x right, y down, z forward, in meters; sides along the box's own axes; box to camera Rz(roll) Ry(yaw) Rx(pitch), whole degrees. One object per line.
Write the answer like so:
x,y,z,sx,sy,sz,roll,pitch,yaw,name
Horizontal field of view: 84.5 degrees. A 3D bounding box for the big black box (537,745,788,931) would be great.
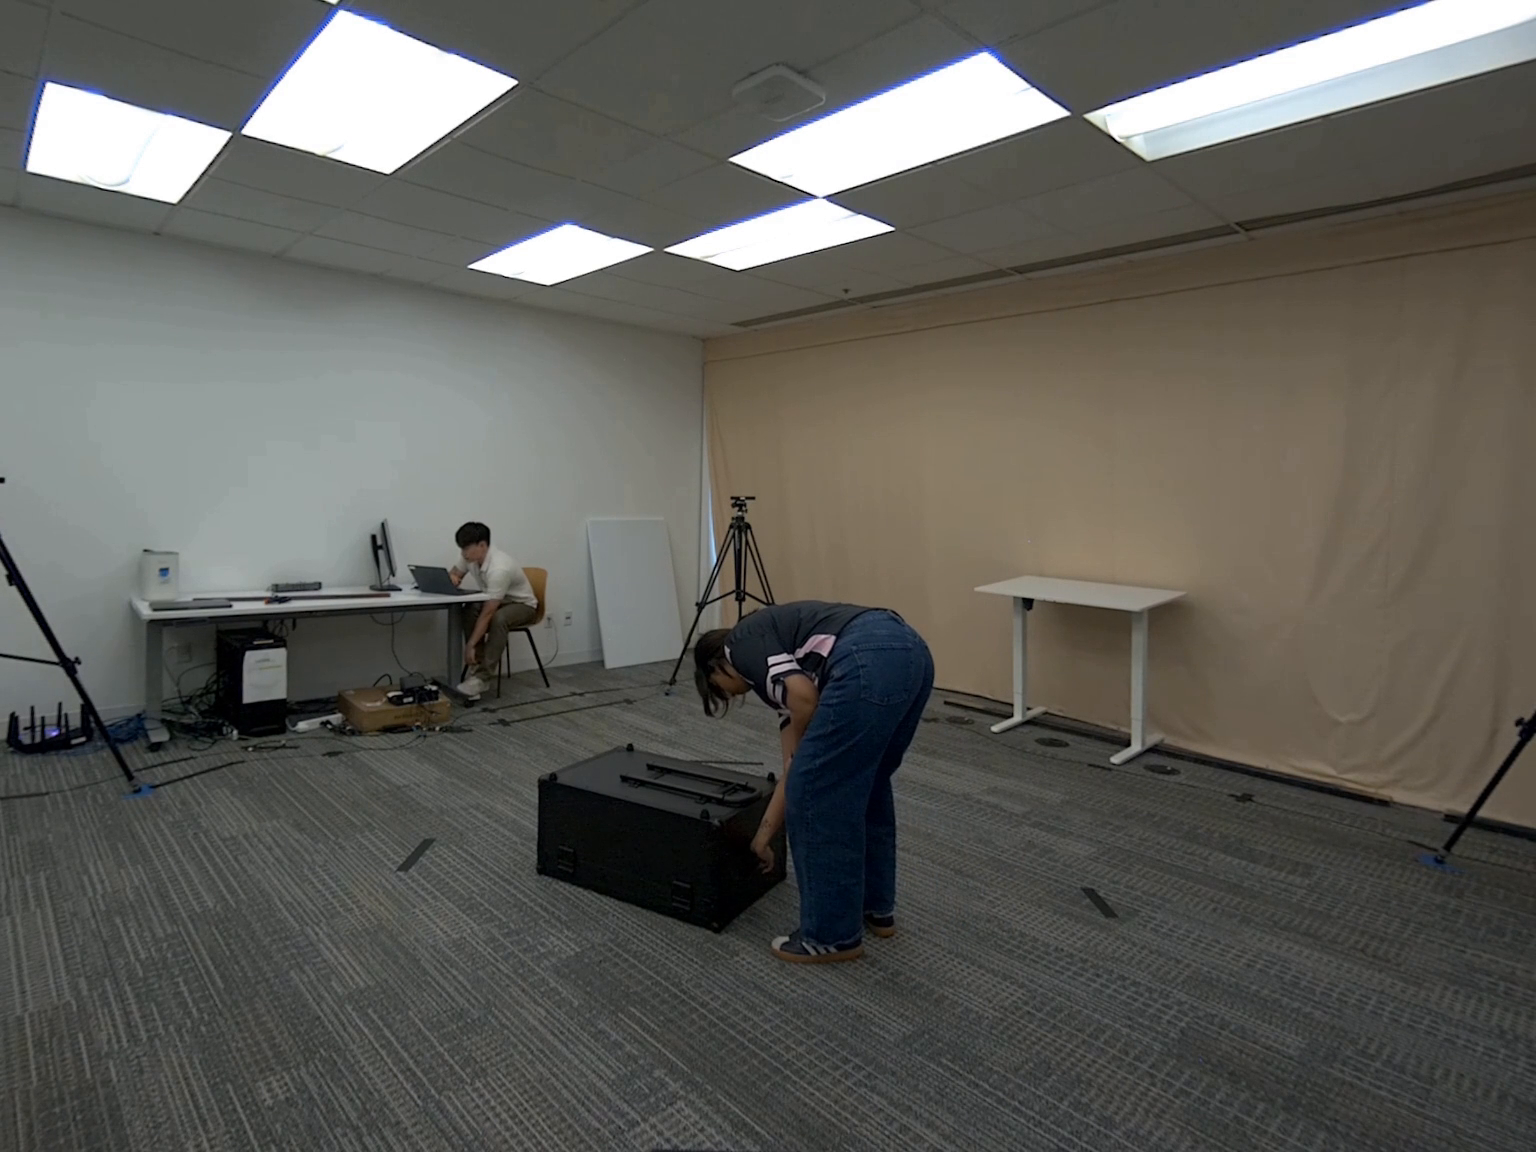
-0.424,0.901,3.093,0.880,0.395,0.511,3,5,29,big black box
